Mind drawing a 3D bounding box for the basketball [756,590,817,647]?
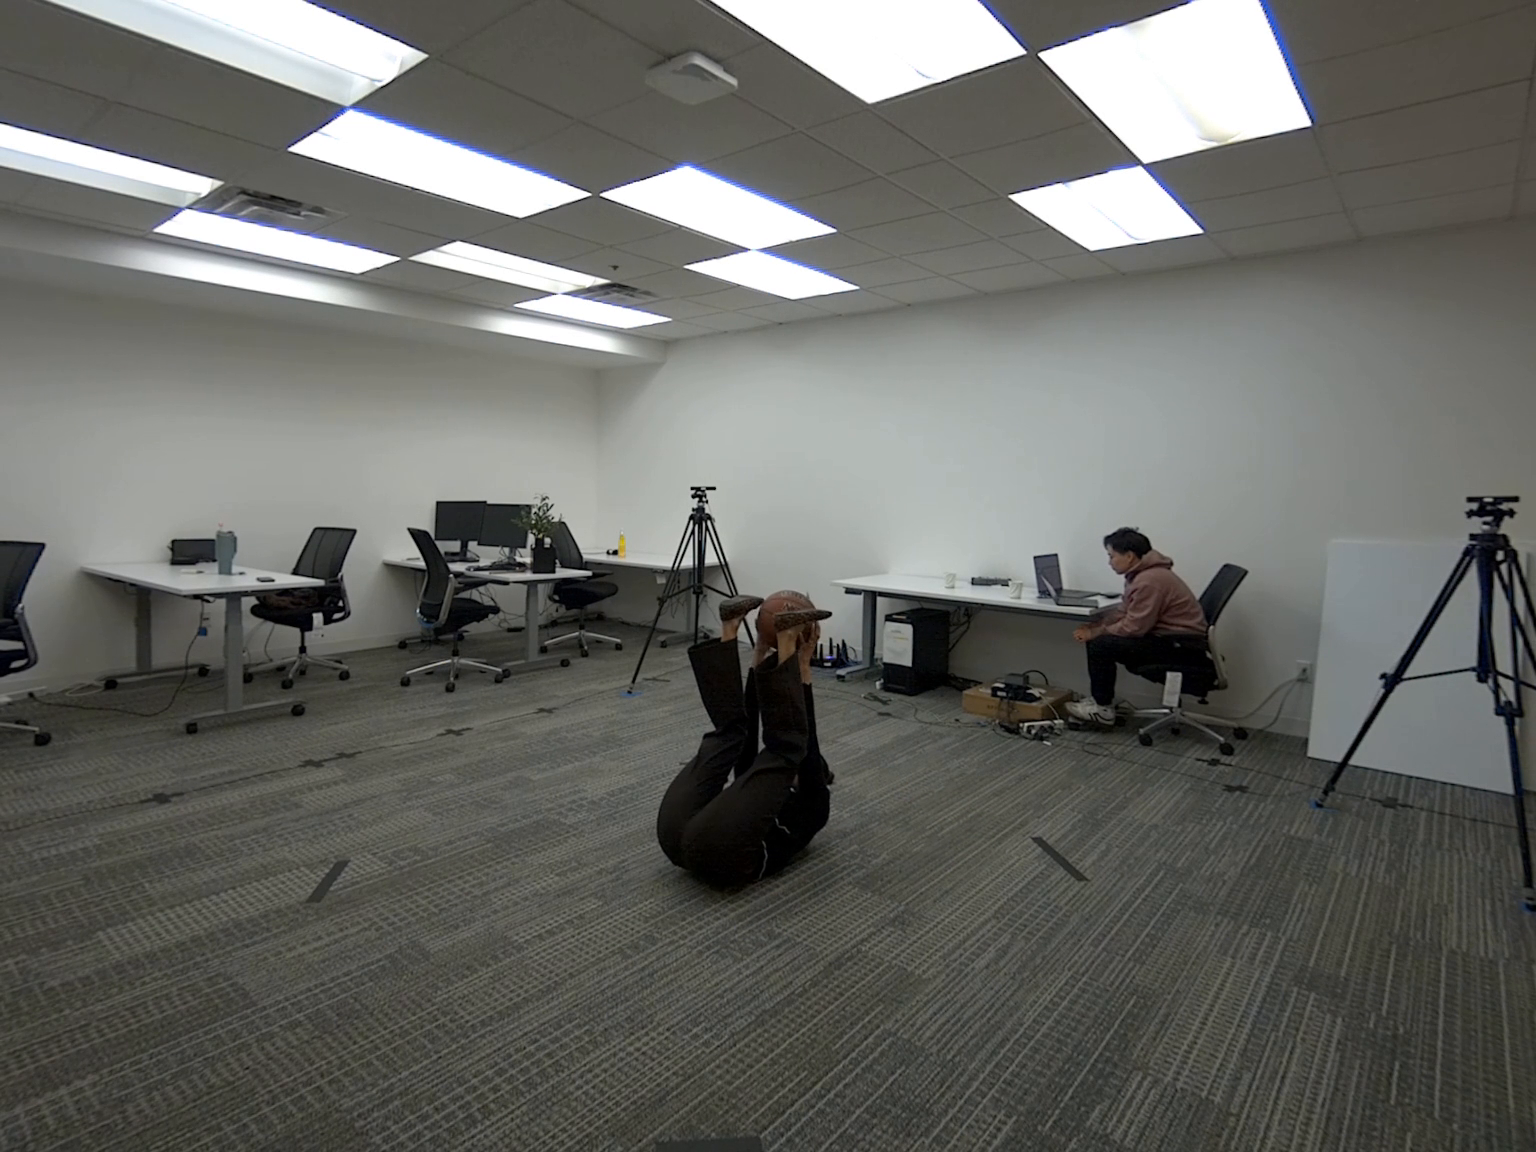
[{"bbox_3d":[0.069,0.172,3.284,0.236,0.235,0.237,1,4,-2],"label":"basketball"}]
